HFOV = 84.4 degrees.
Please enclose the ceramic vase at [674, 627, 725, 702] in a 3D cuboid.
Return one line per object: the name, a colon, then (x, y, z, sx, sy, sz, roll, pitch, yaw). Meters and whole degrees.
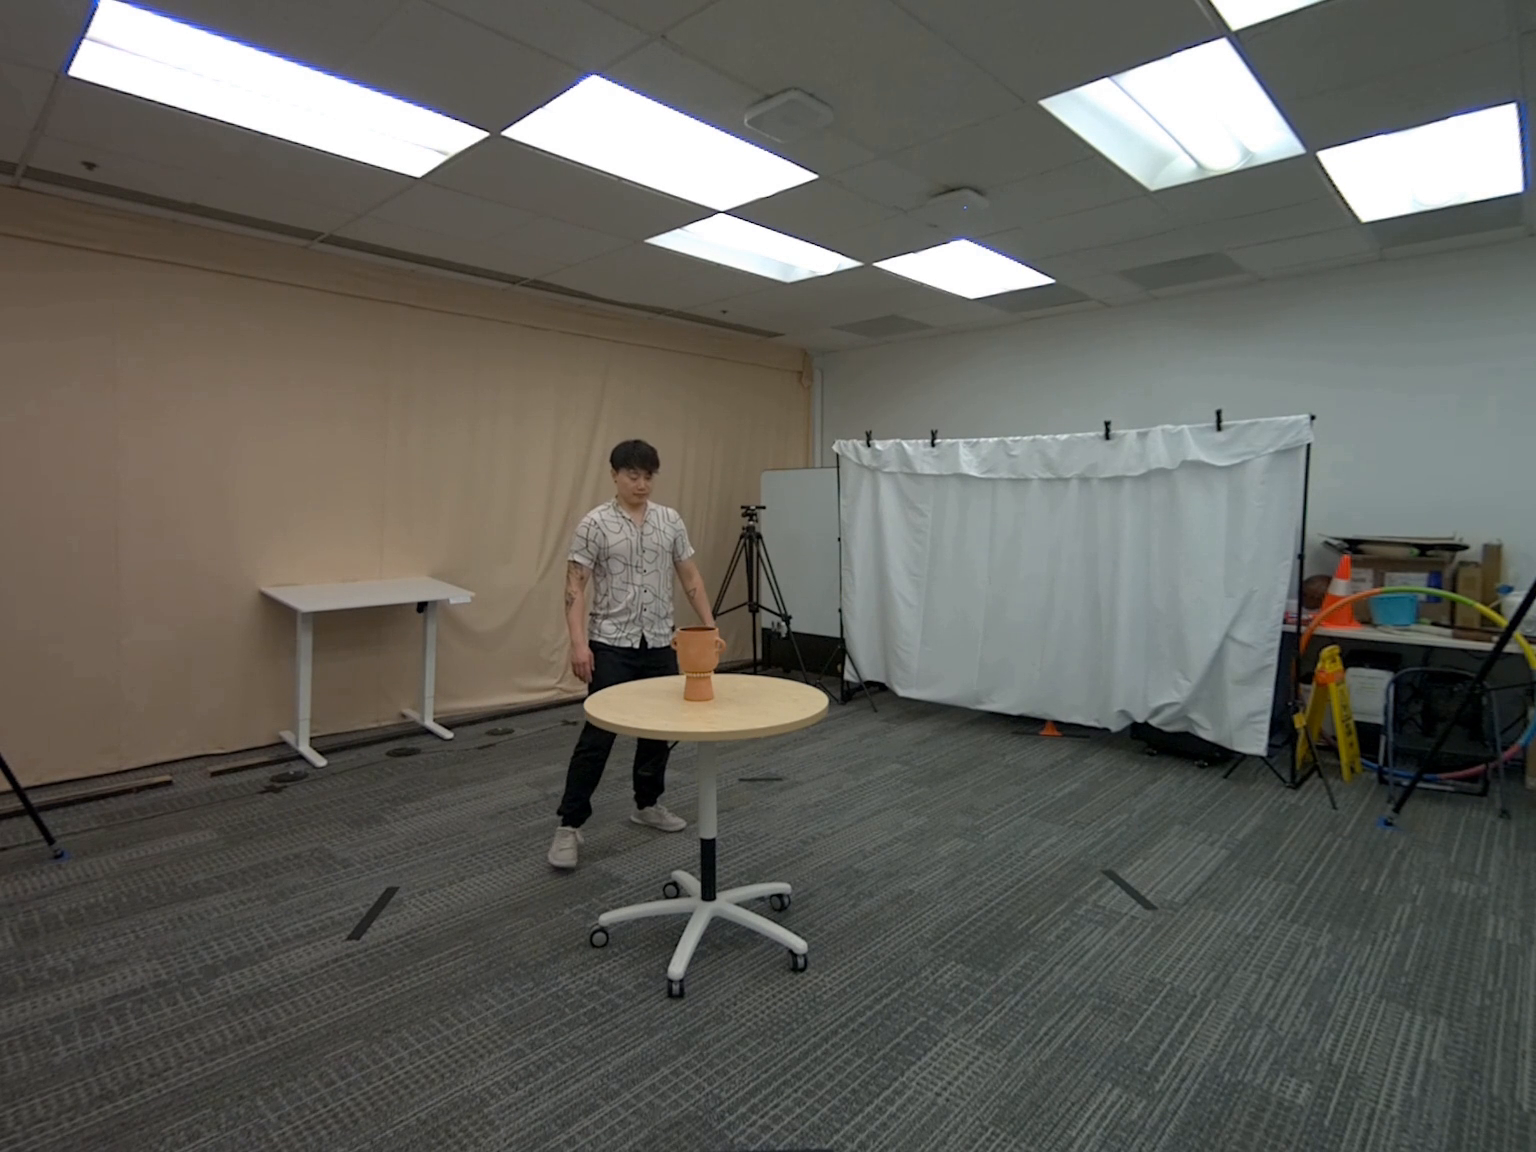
ceramic vase: (-0.221, 0.280, 2.654, 0.131, 0.219, 0.163, -3, 4, -25)
